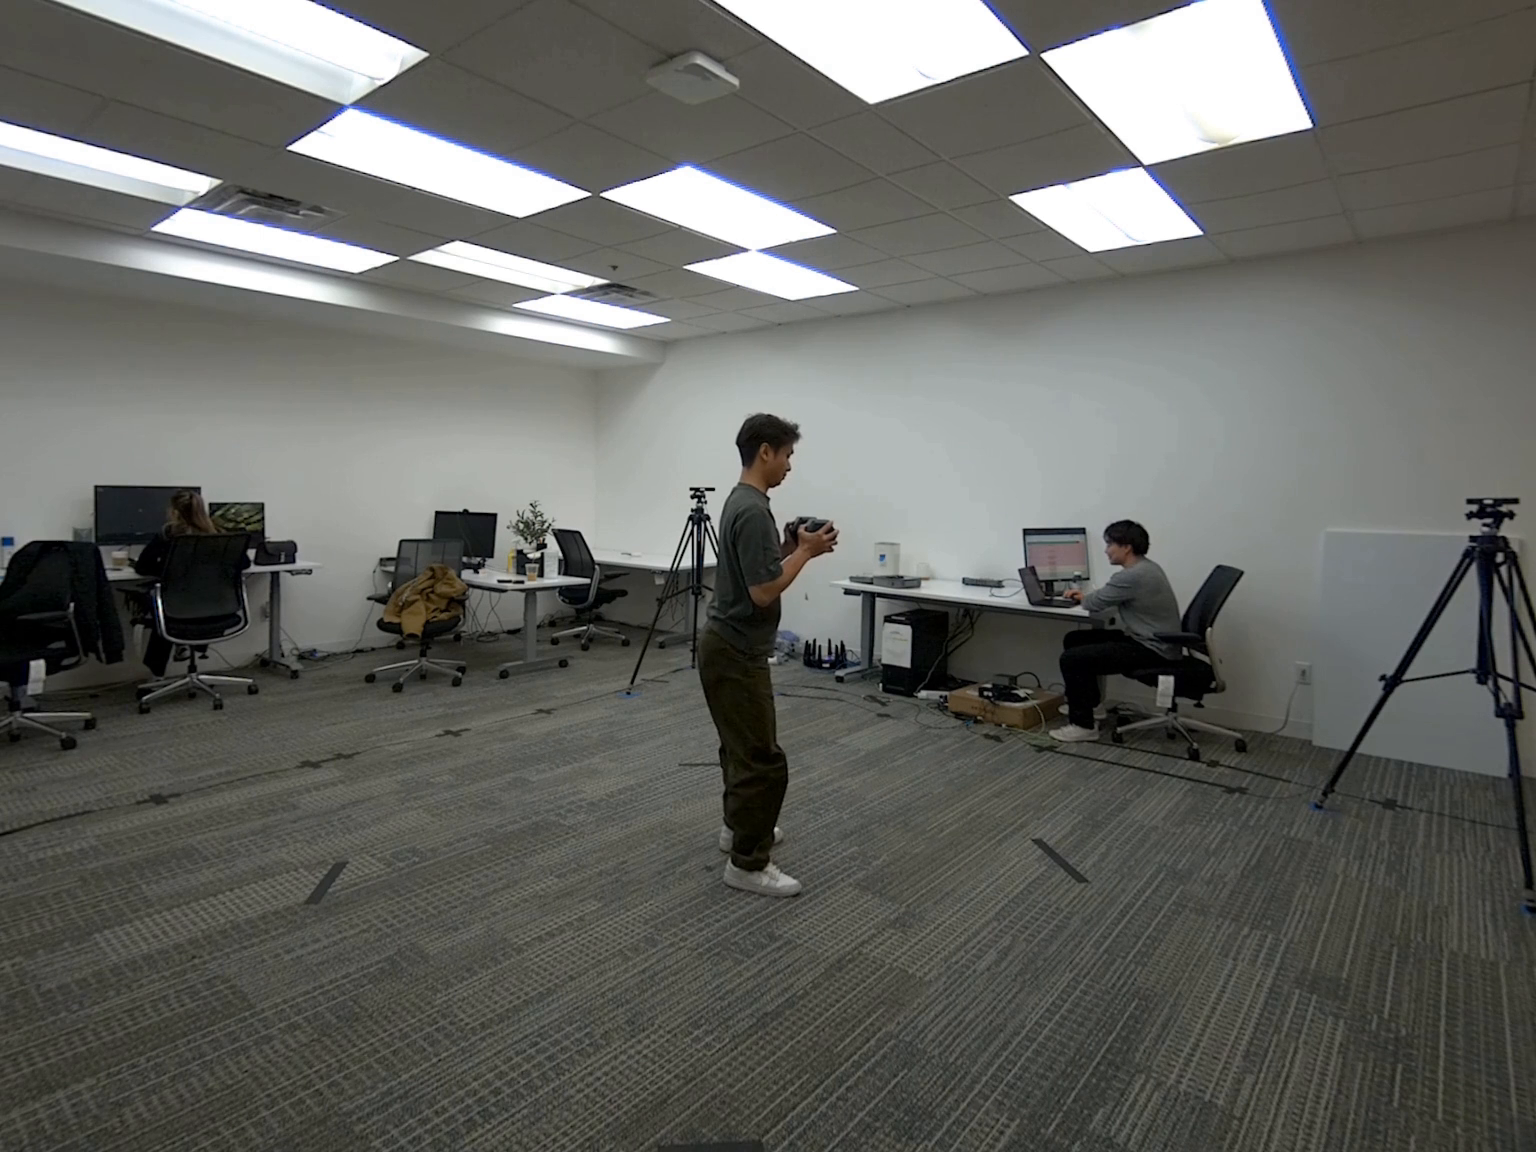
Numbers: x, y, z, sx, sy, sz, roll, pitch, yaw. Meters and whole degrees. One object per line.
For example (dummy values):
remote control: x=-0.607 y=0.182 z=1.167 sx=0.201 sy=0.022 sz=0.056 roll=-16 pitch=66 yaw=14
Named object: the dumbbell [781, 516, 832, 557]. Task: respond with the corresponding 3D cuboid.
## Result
dumbbell: x=0.132 y=-0.145 z=3.105 sx=0.107 sy=0.123 sz=0.298 roll=33 pitch=2 yaw=-13
